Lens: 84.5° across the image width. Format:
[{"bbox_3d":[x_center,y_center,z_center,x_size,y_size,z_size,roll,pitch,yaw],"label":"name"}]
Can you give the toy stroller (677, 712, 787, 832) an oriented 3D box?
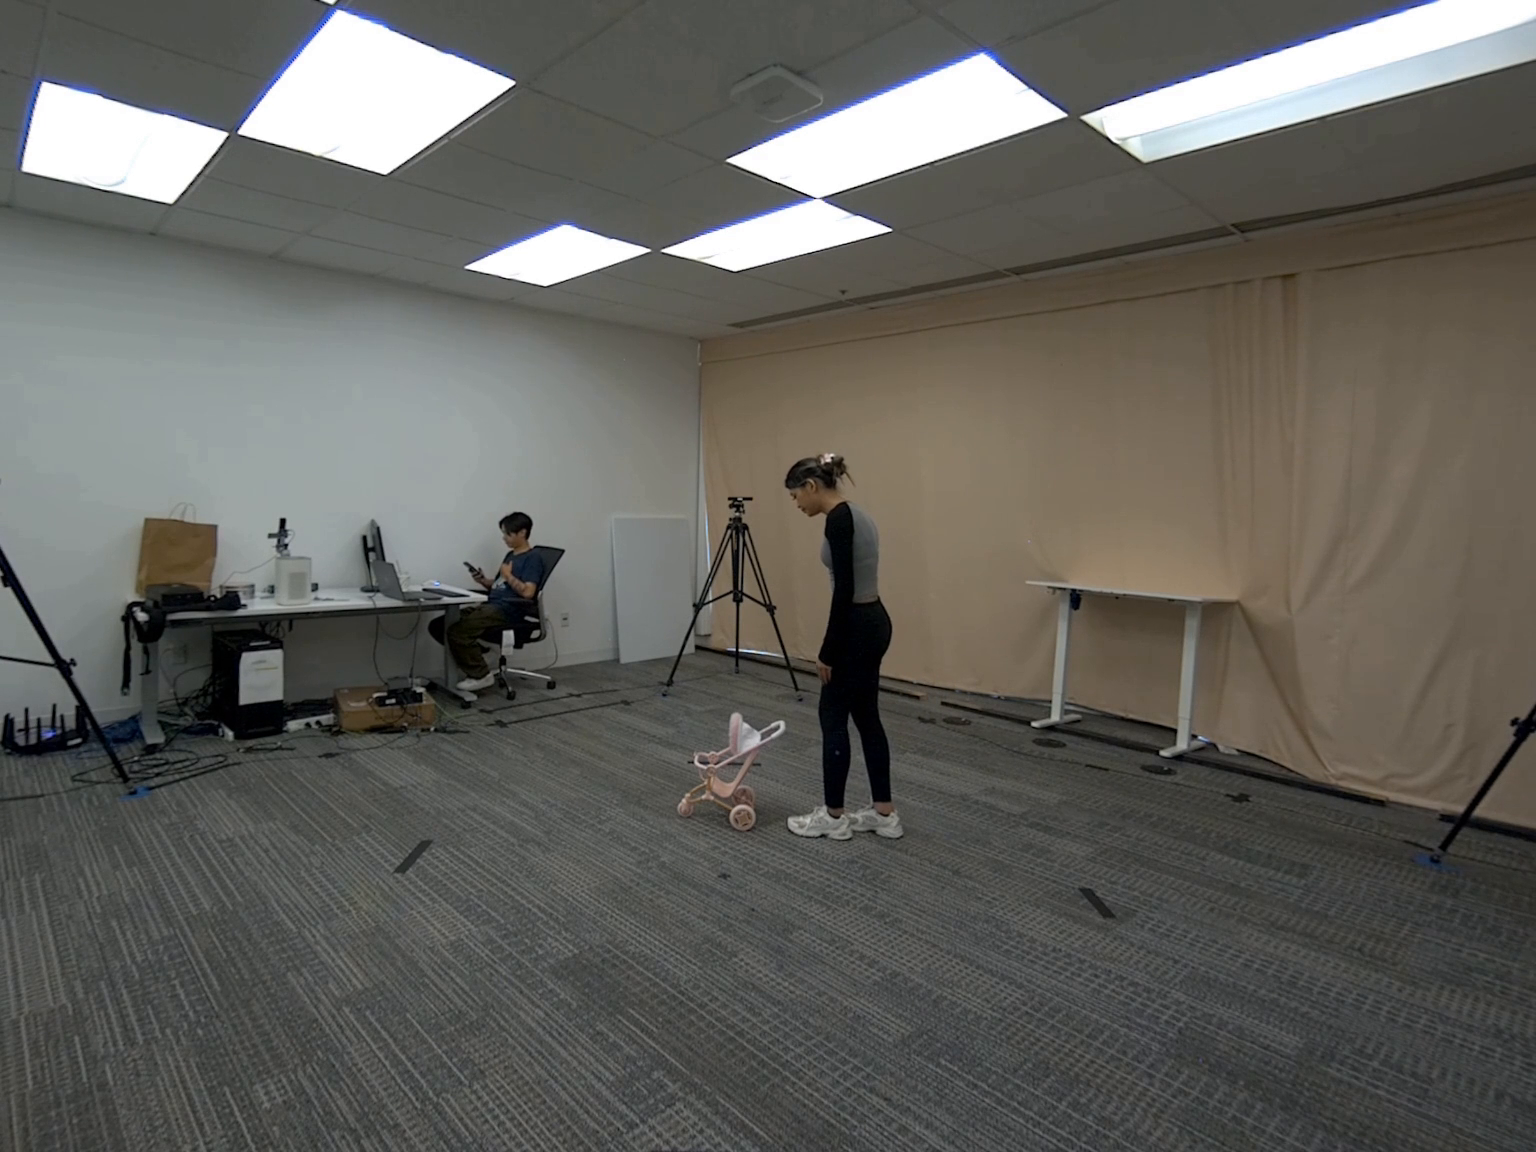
[{"bbox_3d":[-0.170,0.835,3.663,0.343,0.534,0.280,18,4,4],"label":"toy stroller"}]
